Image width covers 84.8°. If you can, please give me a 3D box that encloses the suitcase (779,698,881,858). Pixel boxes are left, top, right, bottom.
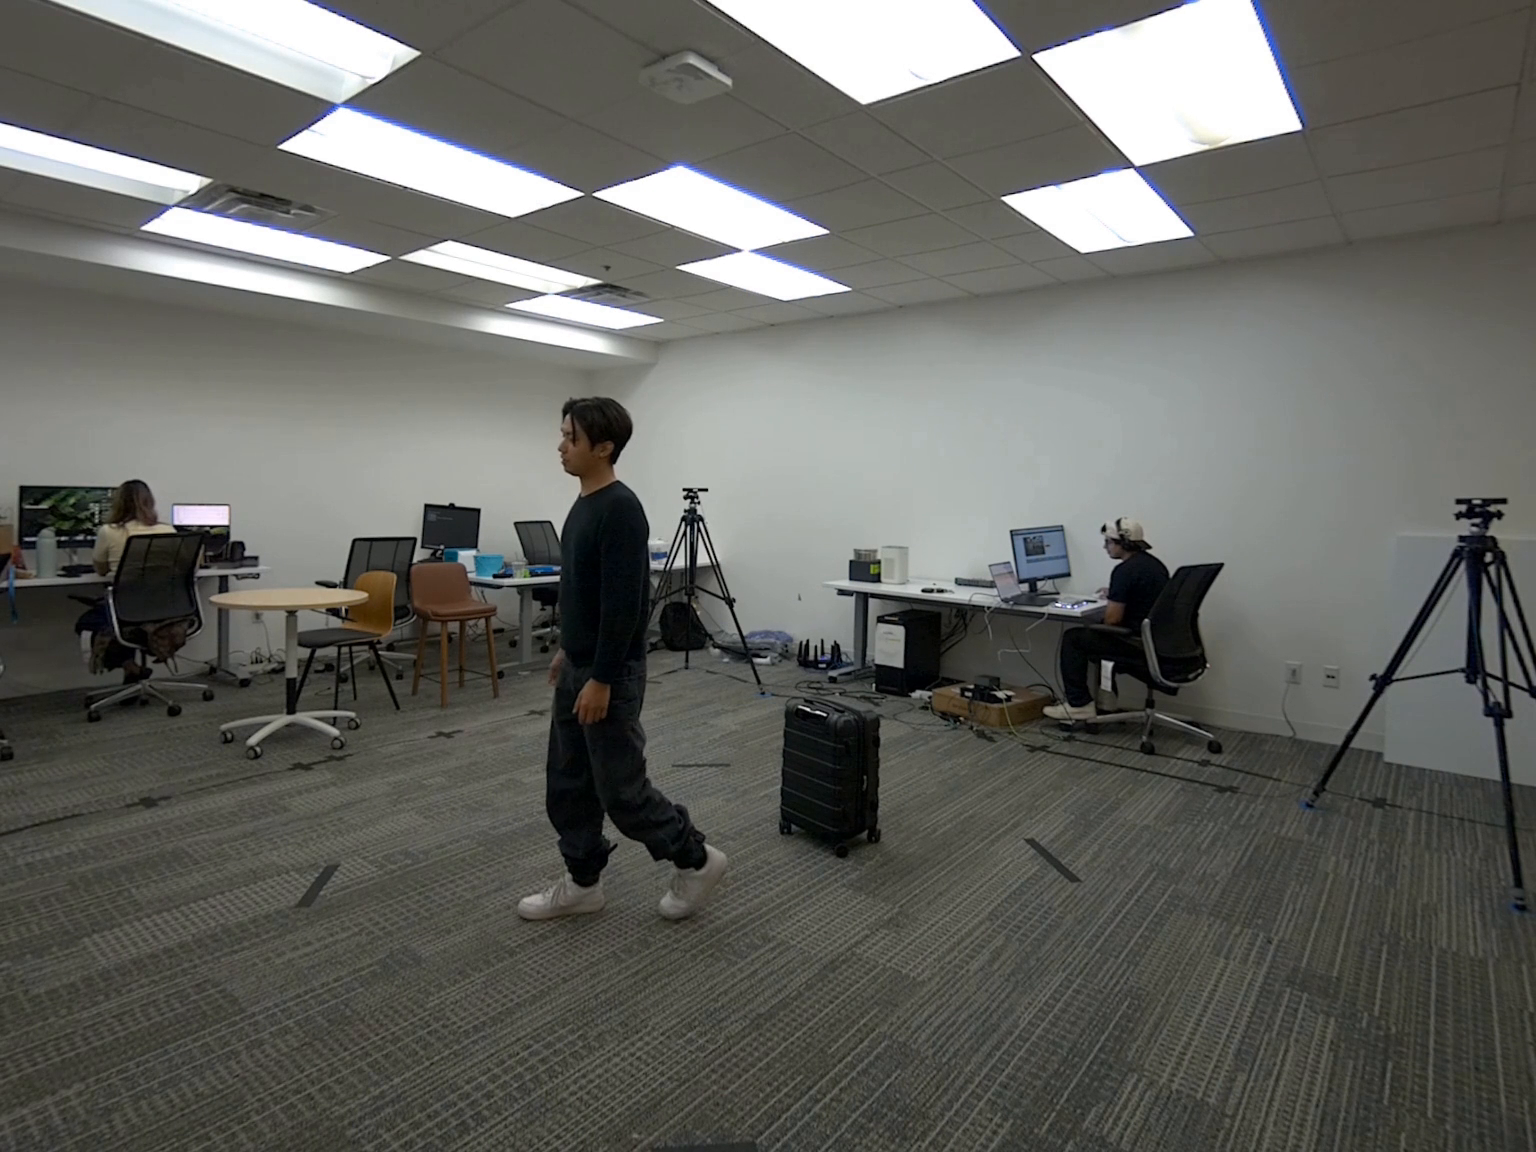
[{"bbox_3d":[0.241,0.771,3.424,0.241,0.548,0.388,-1,3,-41],"label":"suitcase"}]
